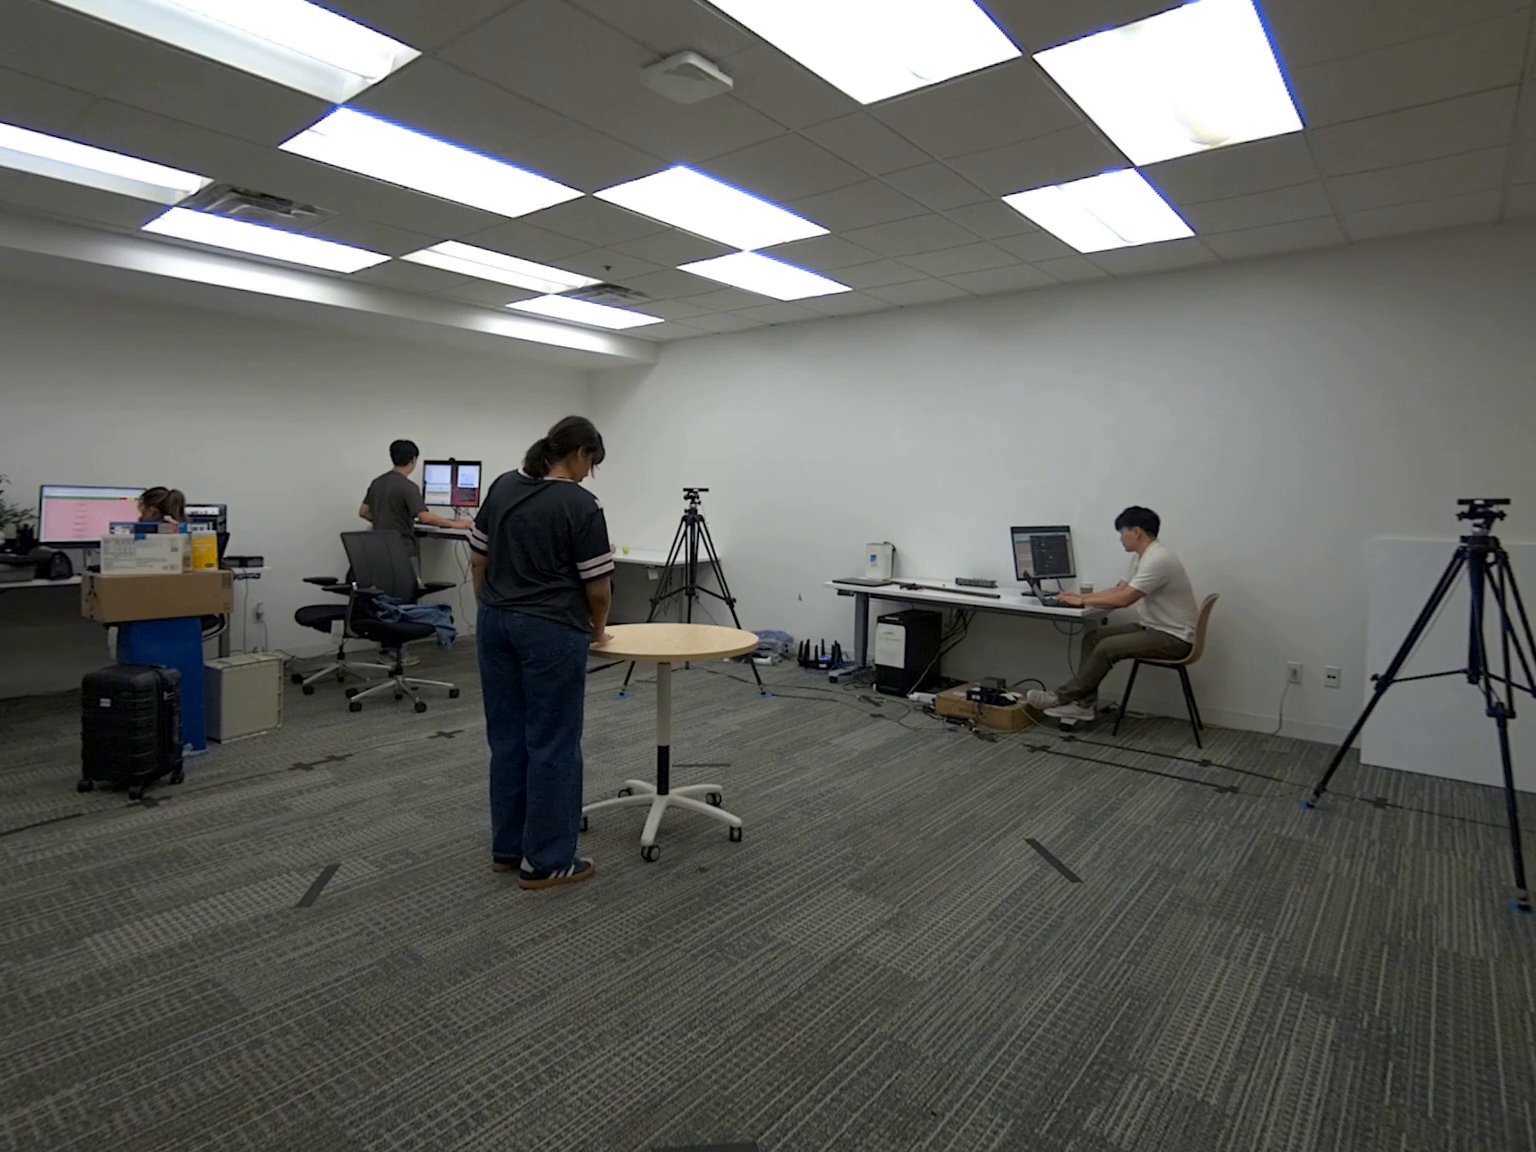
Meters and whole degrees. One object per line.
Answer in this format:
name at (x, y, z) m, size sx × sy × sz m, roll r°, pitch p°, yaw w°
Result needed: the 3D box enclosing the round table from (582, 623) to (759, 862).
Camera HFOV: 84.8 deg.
round table at (-0.450, 0.636, 3.478) m, size 0.784 × 0.784 × 0.789 m, roll 1°, pitch 4°, yaw -2°
